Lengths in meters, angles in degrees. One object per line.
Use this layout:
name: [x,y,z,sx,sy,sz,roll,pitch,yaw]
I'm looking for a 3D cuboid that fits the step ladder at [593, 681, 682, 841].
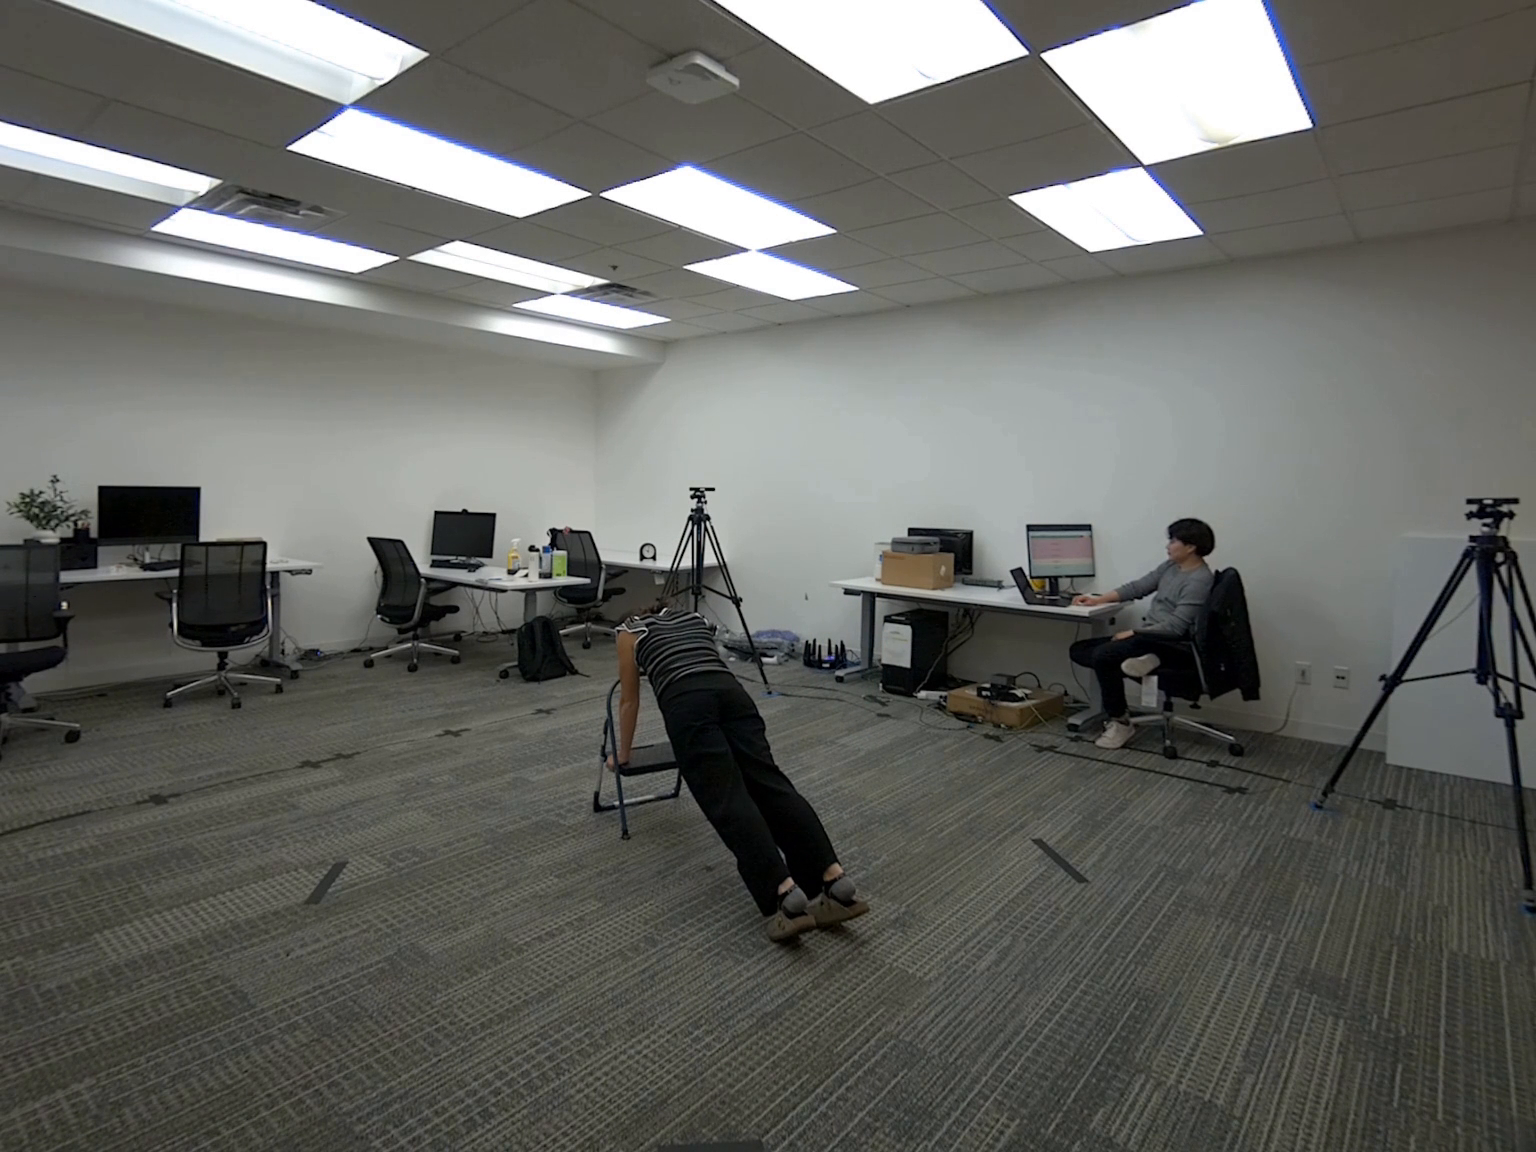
step ladder: [-0.496,0.713,3.594,0.418,0.605,0.360,-1,3,-33]
